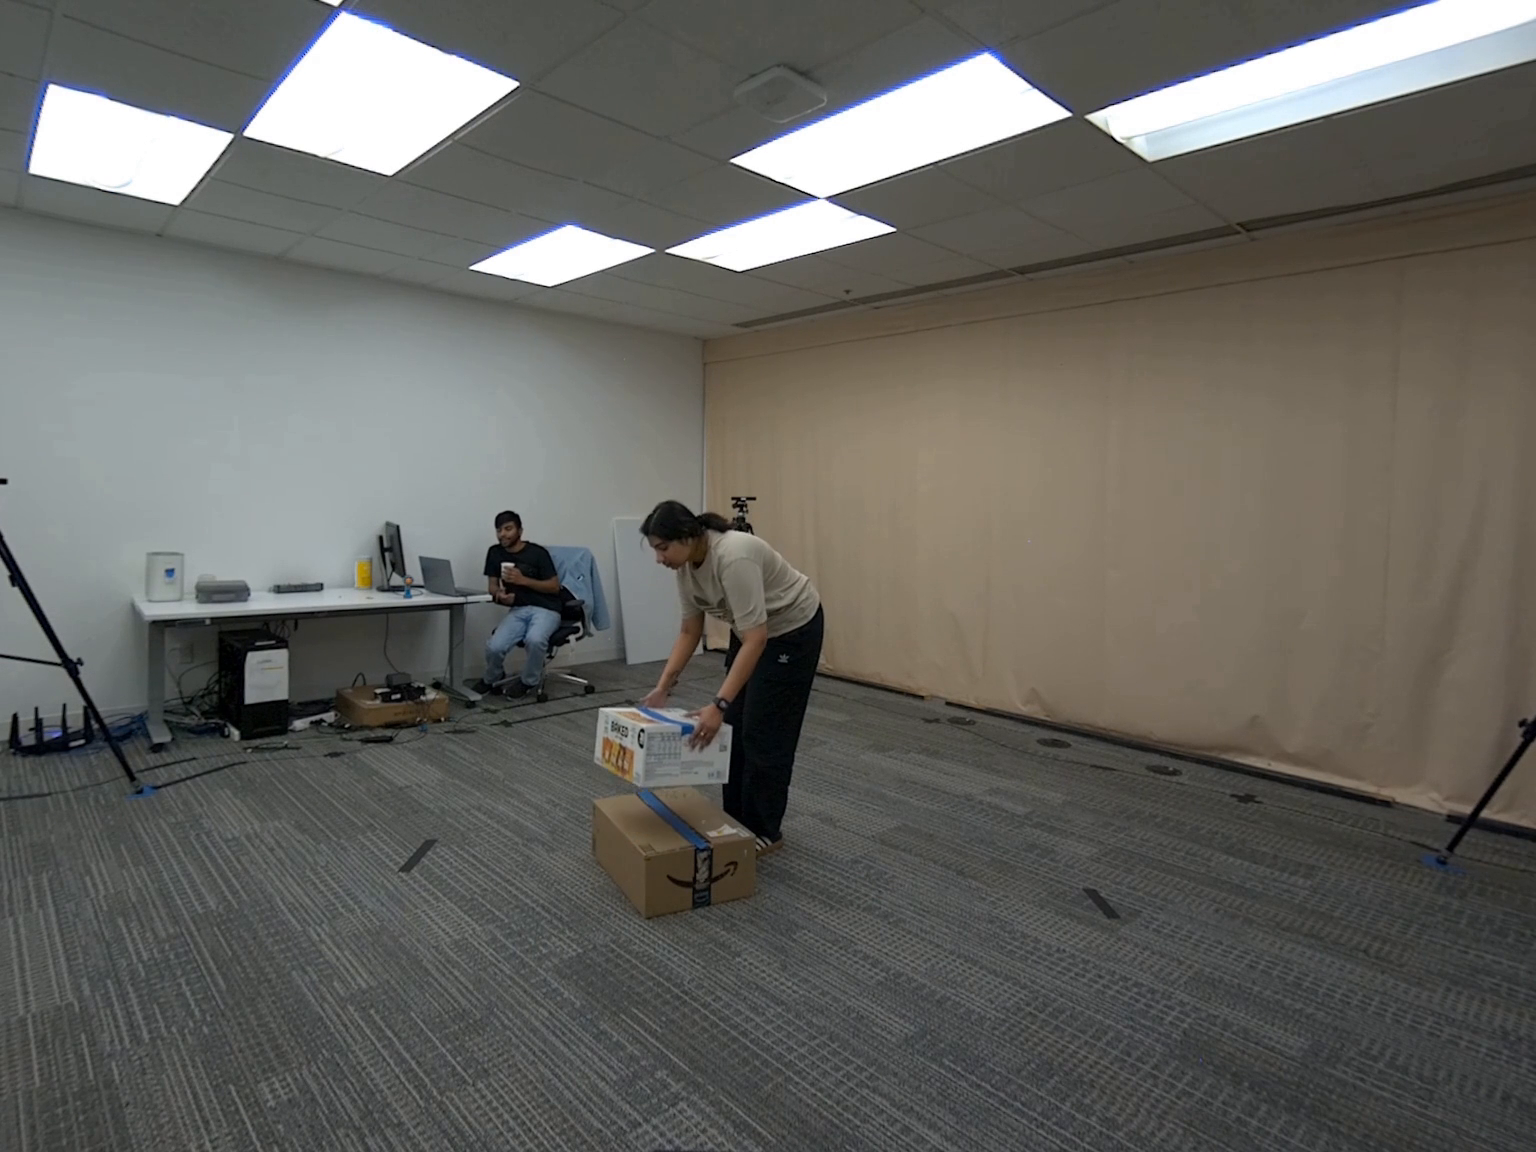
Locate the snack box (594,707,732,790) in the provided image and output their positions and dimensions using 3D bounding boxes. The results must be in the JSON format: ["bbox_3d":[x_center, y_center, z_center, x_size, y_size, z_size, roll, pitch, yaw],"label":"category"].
[{"bbox_3d":[-0.389,0.613,3.032,0.332,0.206,0.414,6,-2,-32],"label":"snack box"}]
